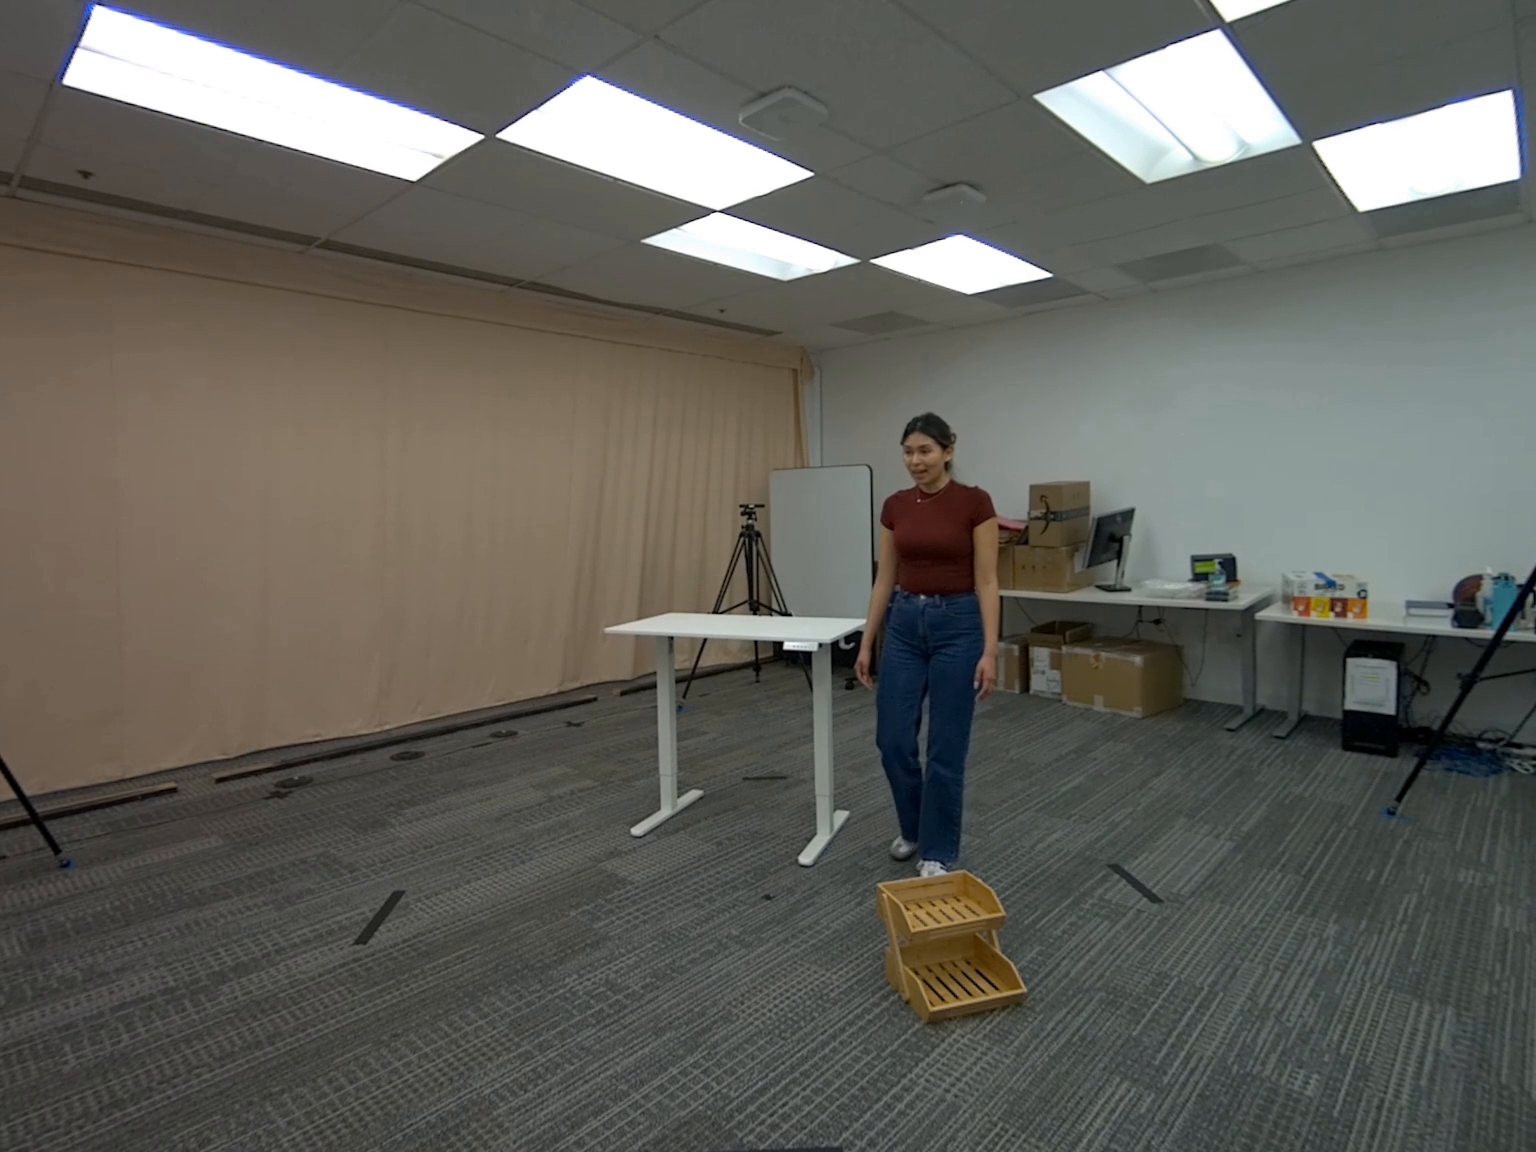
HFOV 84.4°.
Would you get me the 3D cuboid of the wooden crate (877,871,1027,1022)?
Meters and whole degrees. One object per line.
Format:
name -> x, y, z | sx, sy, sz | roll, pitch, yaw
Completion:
wooden crate -> 0.524, 1.045, 2.409 | 0.319, 0.273, 0.307 | -2, 3, -17
